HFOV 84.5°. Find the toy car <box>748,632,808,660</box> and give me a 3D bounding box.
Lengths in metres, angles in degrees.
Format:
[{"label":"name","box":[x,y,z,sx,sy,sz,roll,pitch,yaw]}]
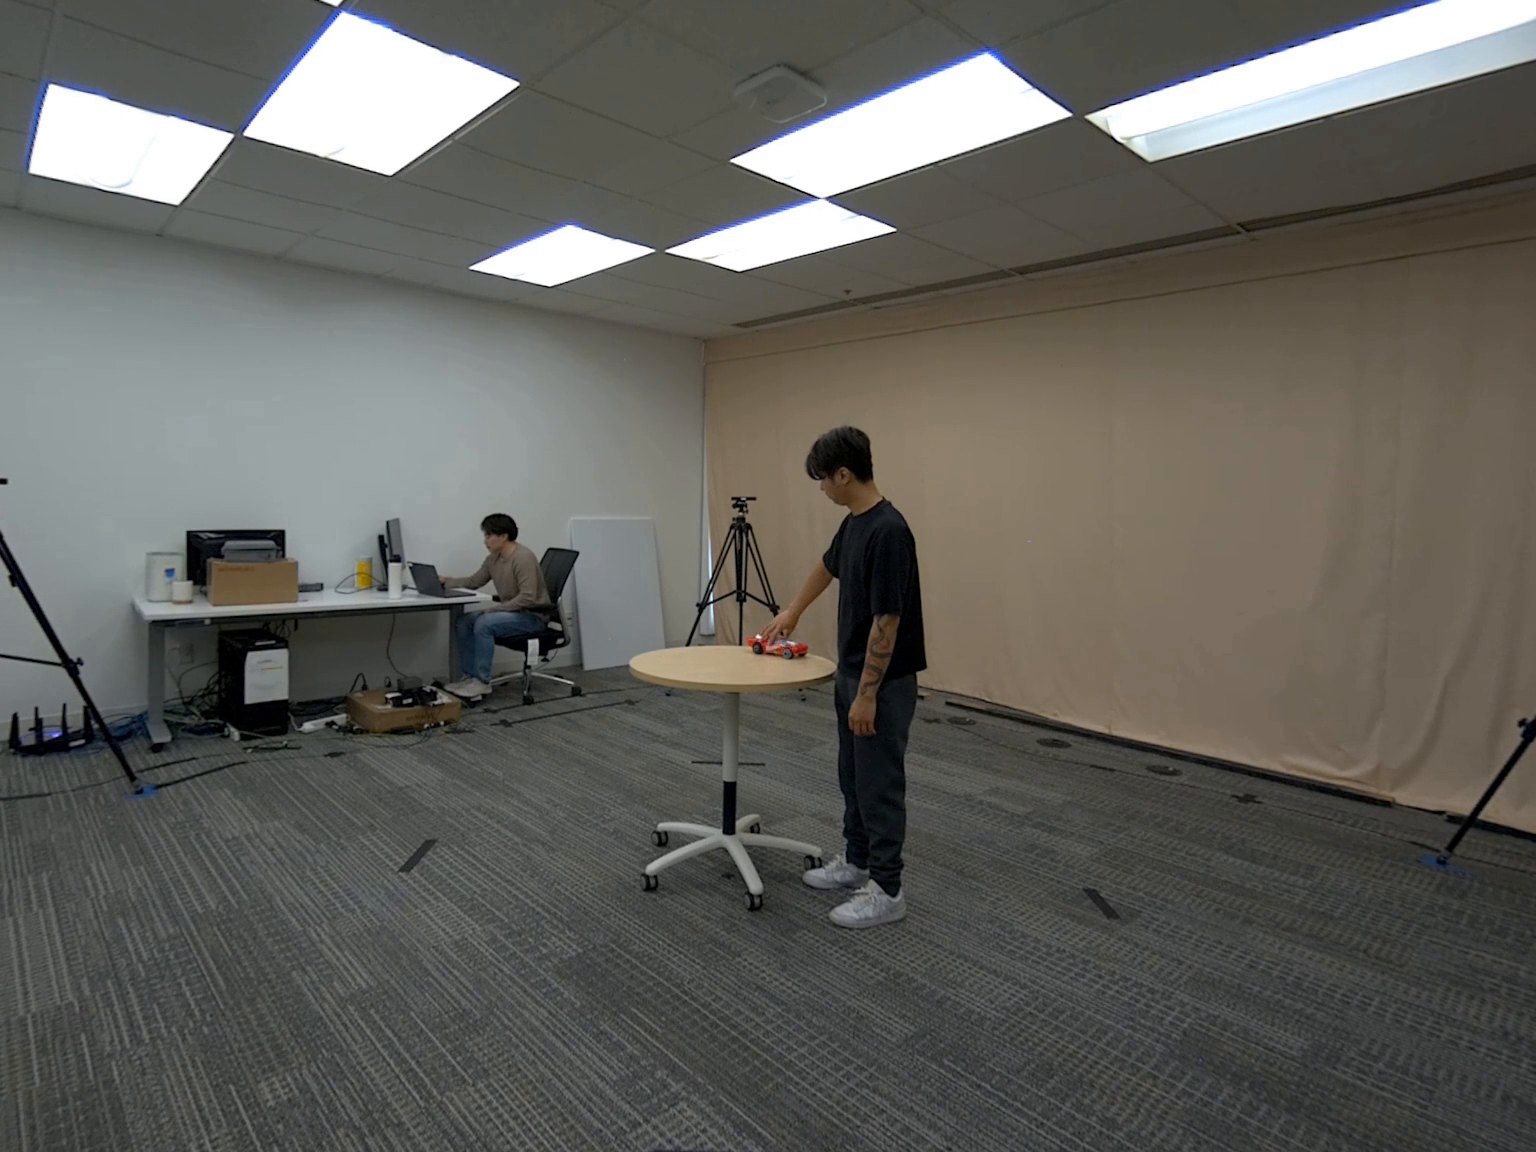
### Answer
[{"label":"toy car","box":[0.021,0.279,3.326,0.262,0.083,0.127,18,14,36]}]
